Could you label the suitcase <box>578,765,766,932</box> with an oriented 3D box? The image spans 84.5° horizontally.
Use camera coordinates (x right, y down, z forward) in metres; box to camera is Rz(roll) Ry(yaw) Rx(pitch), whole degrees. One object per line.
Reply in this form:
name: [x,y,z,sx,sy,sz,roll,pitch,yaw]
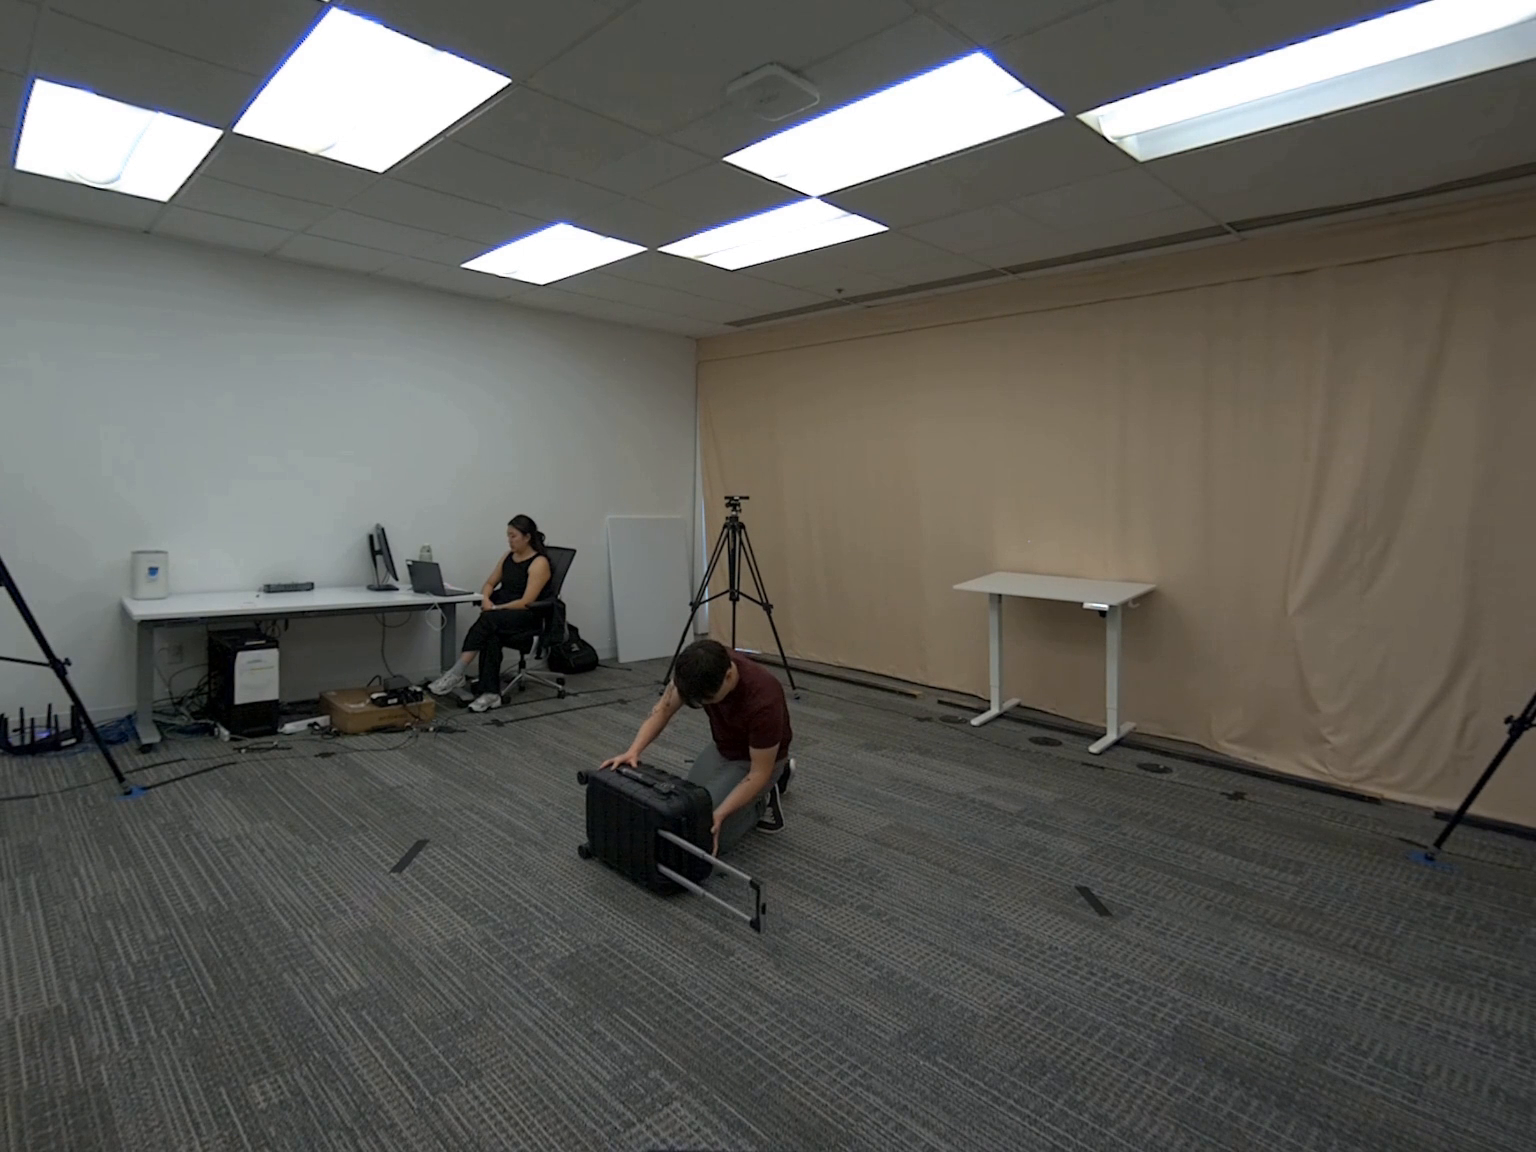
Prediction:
suitcase: [-0.305,0.929,2.944,0.251,0.382,1.004,-5,9,-44]
